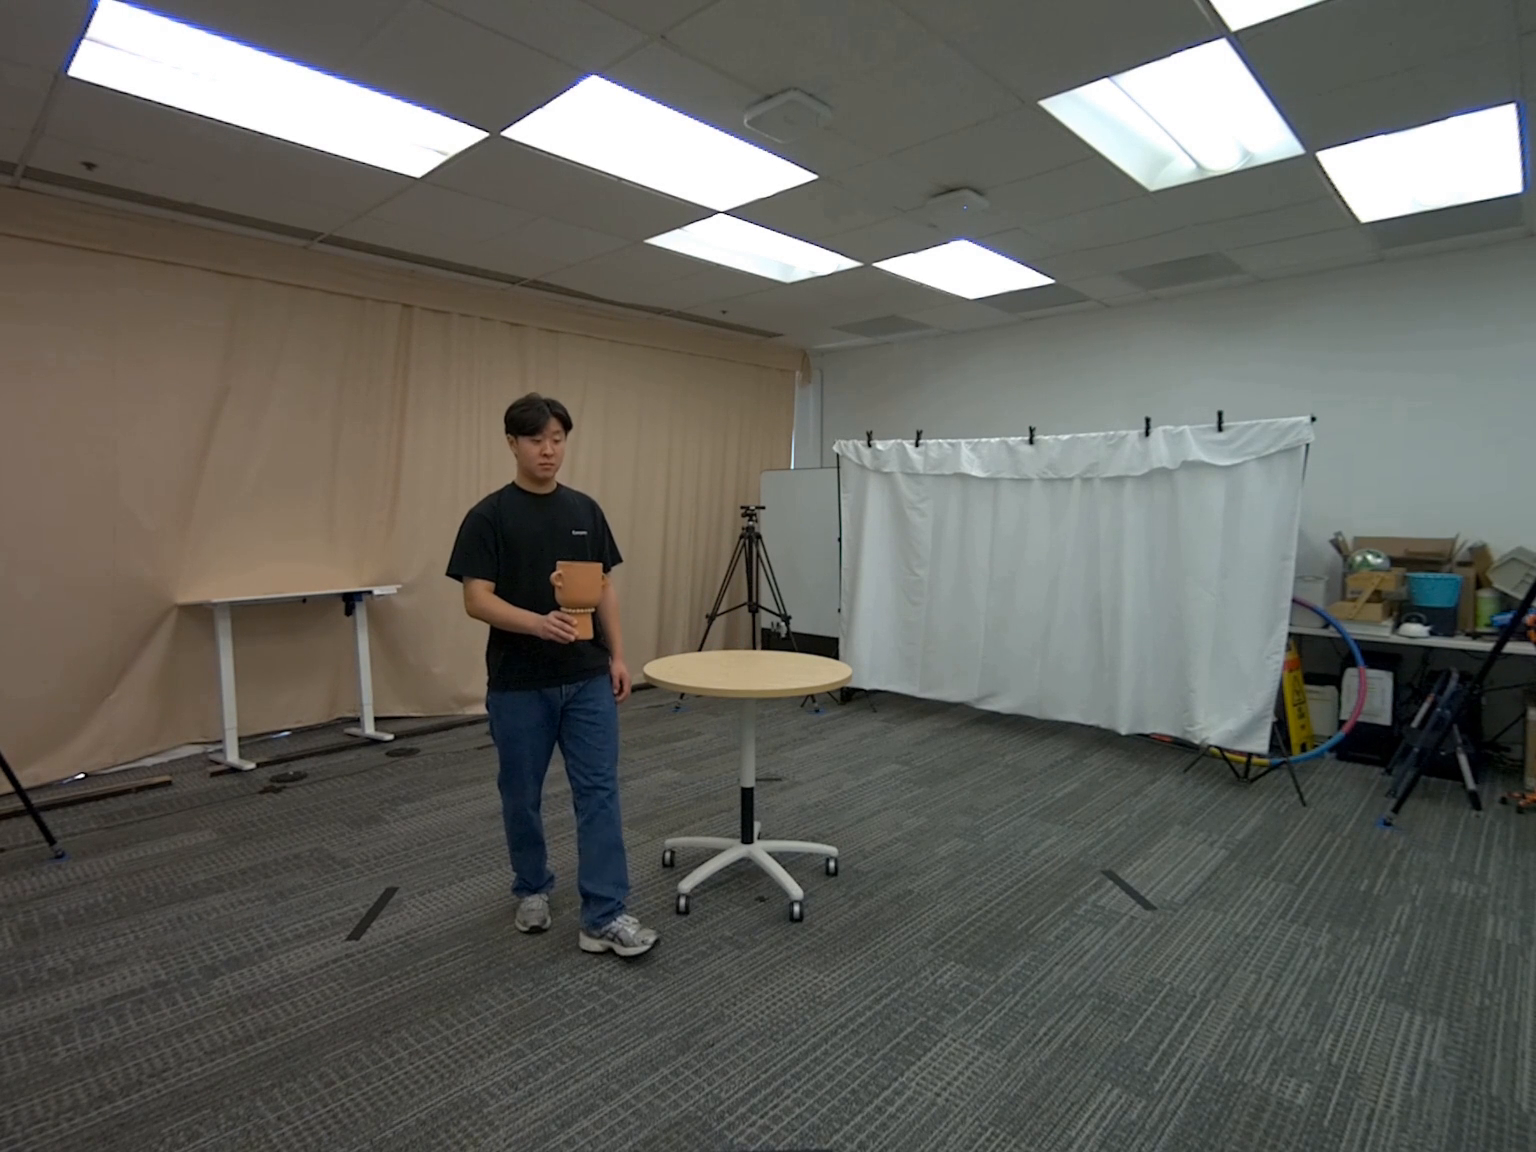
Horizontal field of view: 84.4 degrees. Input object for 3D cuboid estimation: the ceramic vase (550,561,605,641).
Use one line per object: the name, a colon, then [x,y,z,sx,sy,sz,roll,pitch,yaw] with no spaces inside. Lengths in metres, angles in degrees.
ceramic vase: [-0.555,0.071,2.448,0.157,0.220,0.136,2,0,-9]
